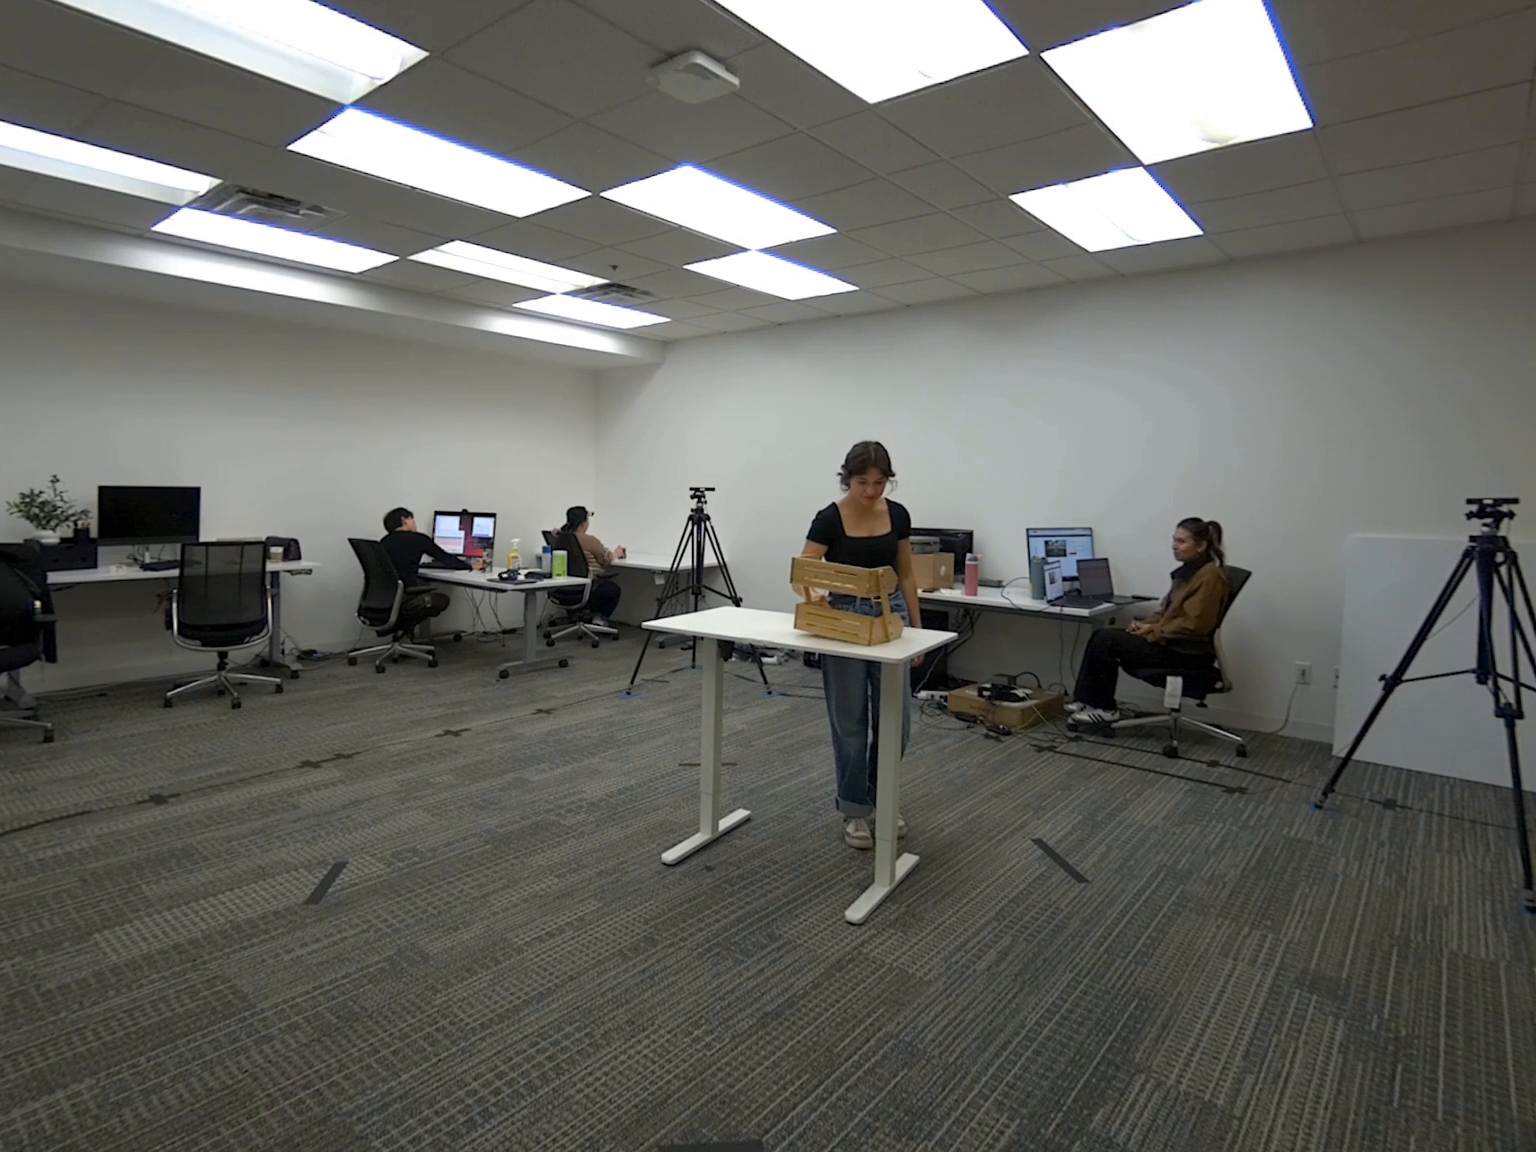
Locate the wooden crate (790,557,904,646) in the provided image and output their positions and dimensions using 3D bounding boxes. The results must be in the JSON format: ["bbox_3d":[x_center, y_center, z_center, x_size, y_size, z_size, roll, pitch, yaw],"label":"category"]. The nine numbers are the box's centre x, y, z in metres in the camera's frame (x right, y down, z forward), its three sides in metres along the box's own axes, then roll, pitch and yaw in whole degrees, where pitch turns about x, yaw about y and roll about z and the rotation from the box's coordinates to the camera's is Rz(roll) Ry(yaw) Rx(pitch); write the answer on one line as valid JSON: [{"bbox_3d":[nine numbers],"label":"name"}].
[{"bbox_3d":[0.273,0.068,2.954,0.335,0.272,0.293,9,8,35],"label":"wooden crate"}]
